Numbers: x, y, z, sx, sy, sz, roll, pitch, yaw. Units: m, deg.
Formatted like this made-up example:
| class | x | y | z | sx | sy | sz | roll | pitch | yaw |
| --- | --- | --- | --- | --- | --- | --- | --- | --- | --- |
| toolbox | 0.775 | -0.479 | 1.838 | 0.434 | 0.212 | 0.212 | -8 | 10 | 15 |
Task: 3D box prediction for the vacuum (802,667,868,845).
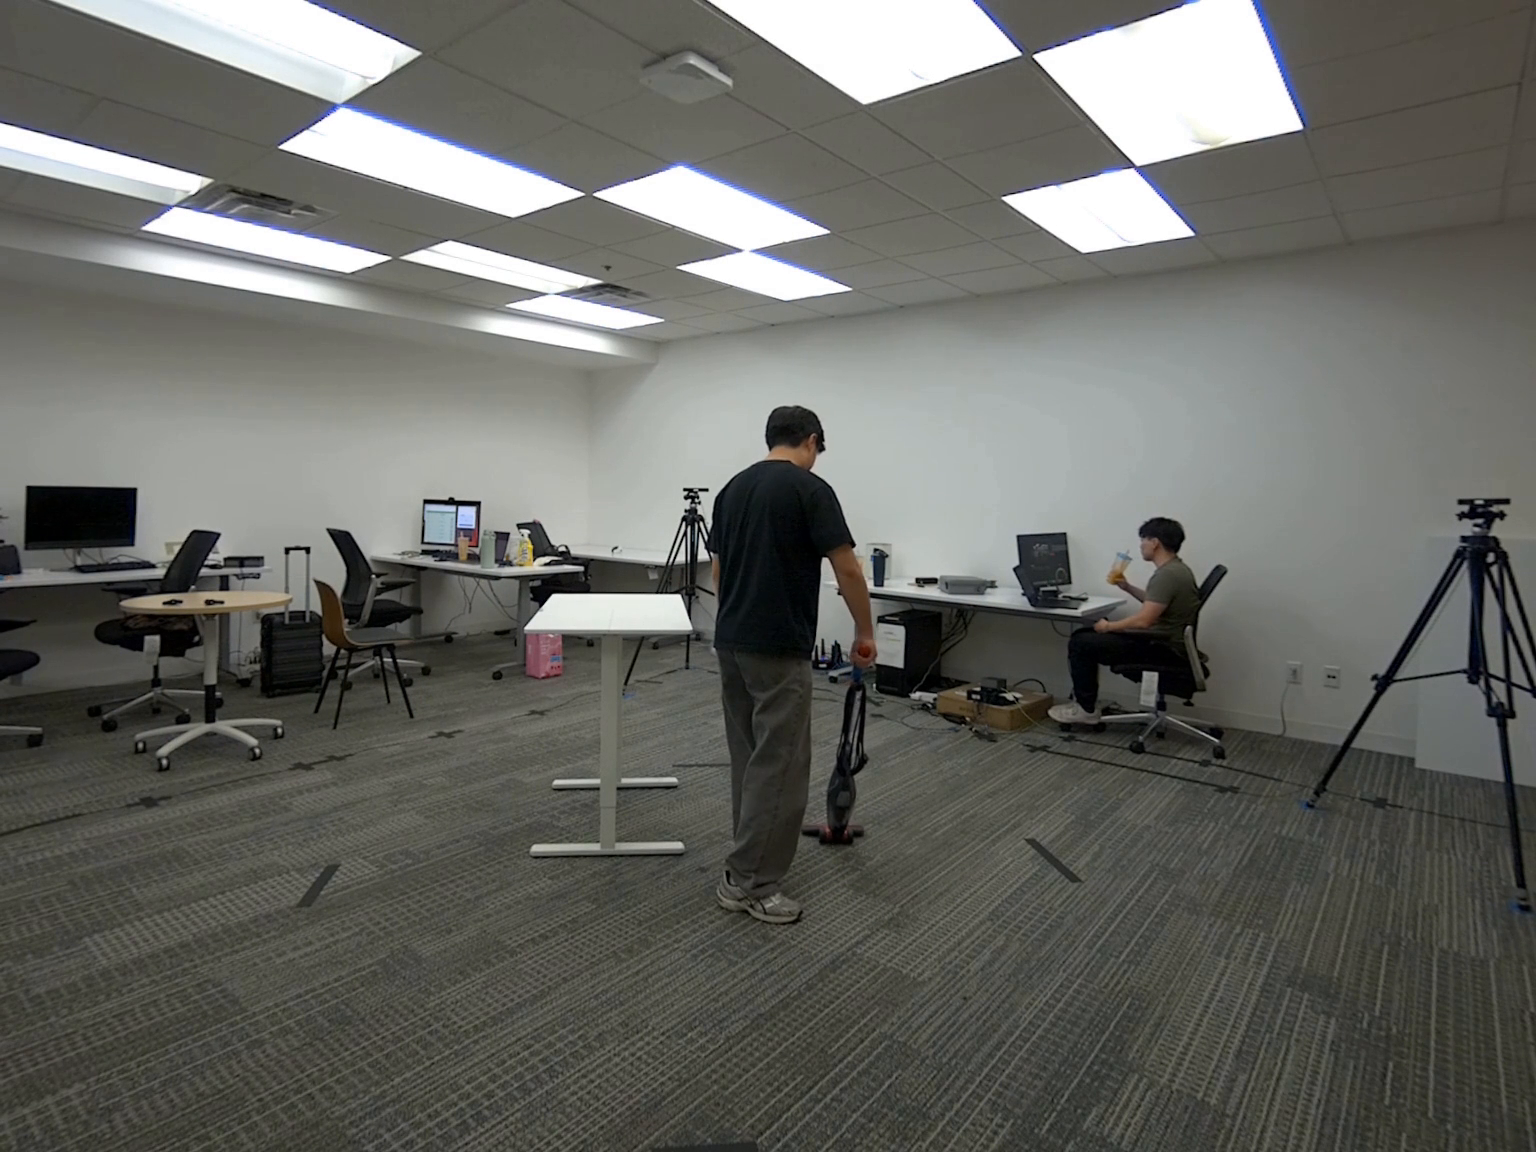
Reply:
| class | x | y | z | sx | sy | sz | roll | pitch | yaw |
| --- | --- | --- | --- | --- | --- | --- | --- | --- | --- |
| vacuum | 0.284 | 0.645 | 3.111 | 0.252 | 1.022 | 0.148 | 2 | 38 | -2 |
